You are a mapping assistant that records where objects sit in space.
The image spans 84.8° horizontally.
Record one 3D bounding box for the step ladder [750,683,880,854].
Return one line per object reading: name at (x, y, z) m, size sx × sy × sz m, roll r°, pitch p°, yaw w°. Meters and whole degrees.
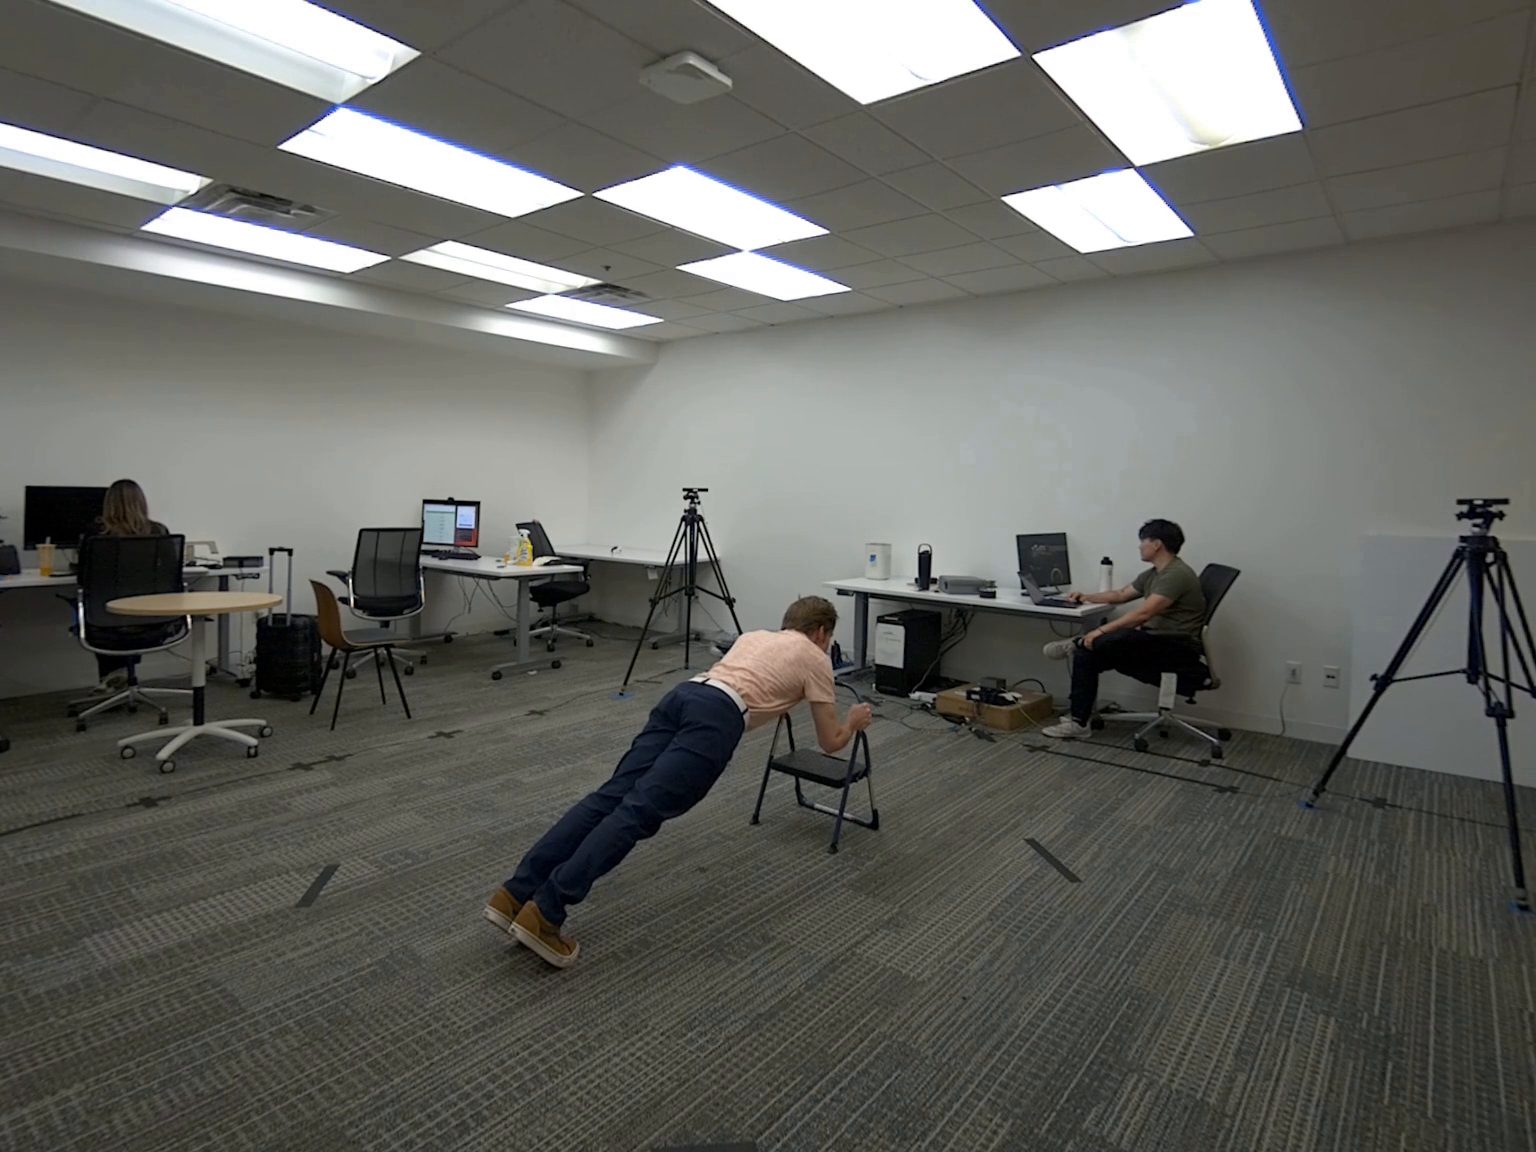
step ladder at (0.196, 0.737, 3.524) m, size 0.445 × 0.605 × 0.338 m, roll 4°, pitch 4°, yaw 40°
